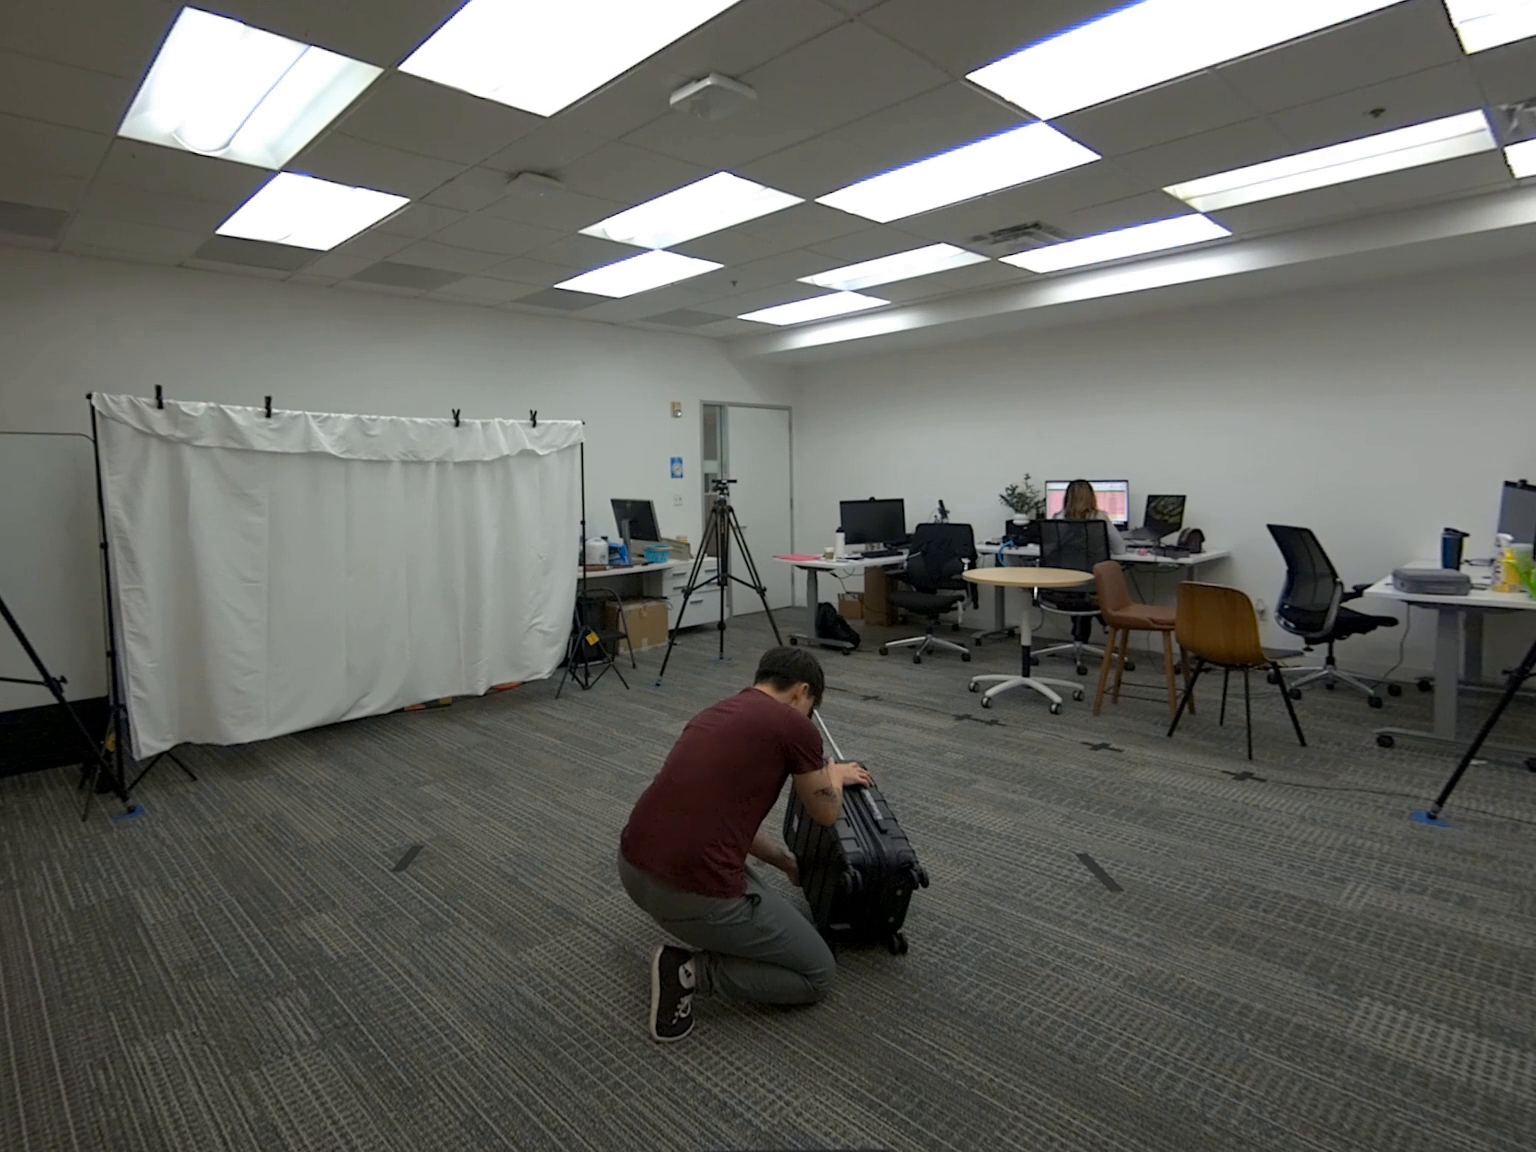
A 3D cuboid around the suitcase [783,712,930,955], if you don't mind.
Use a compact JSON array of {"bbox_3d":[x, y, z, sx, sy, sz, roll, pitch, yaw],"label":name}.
[{"bbox_3d":[0.190,0.759,2.850,0.253,0.378,1.011,1,24,-19],"label":"suitcase"}]
